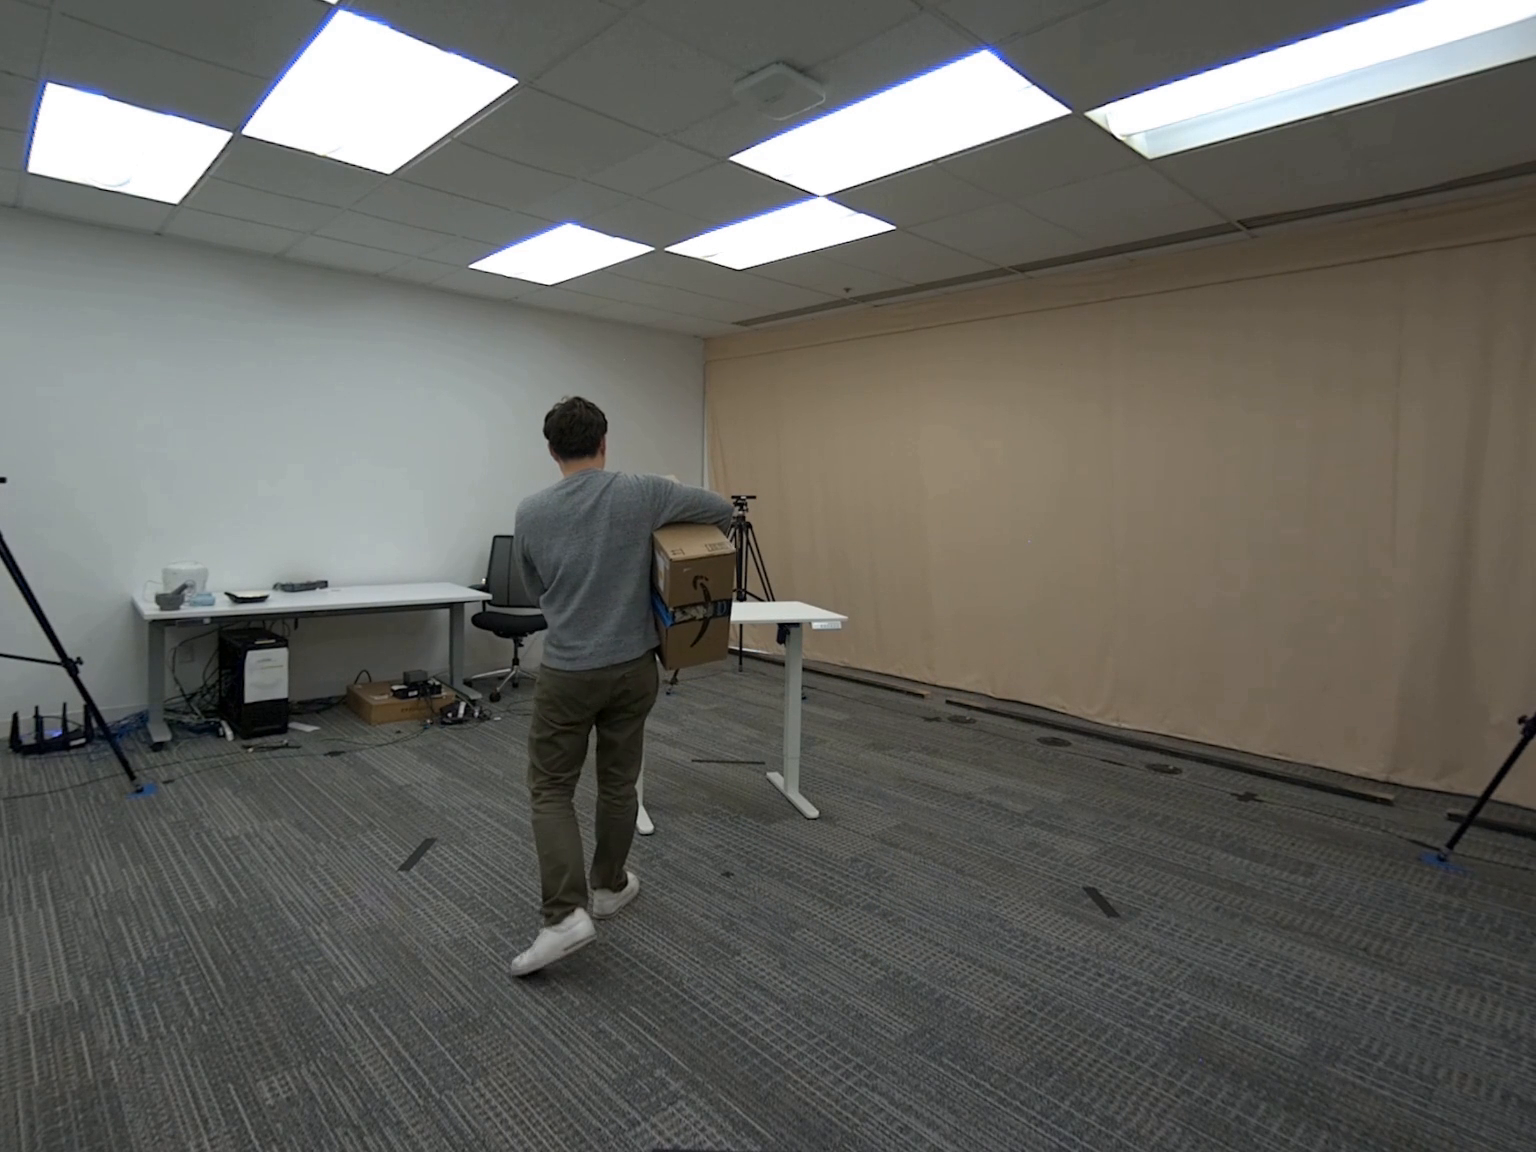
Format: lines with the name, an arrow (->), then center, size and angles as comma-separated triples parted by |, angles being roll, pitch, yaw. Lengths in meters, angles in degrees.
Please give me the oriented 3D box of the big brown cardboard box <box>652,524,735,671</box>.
big brown cardboard box -> -0.330, -0.020, 2.824 | 0.230, 0.410, 0.607 | -8, 32, -23
